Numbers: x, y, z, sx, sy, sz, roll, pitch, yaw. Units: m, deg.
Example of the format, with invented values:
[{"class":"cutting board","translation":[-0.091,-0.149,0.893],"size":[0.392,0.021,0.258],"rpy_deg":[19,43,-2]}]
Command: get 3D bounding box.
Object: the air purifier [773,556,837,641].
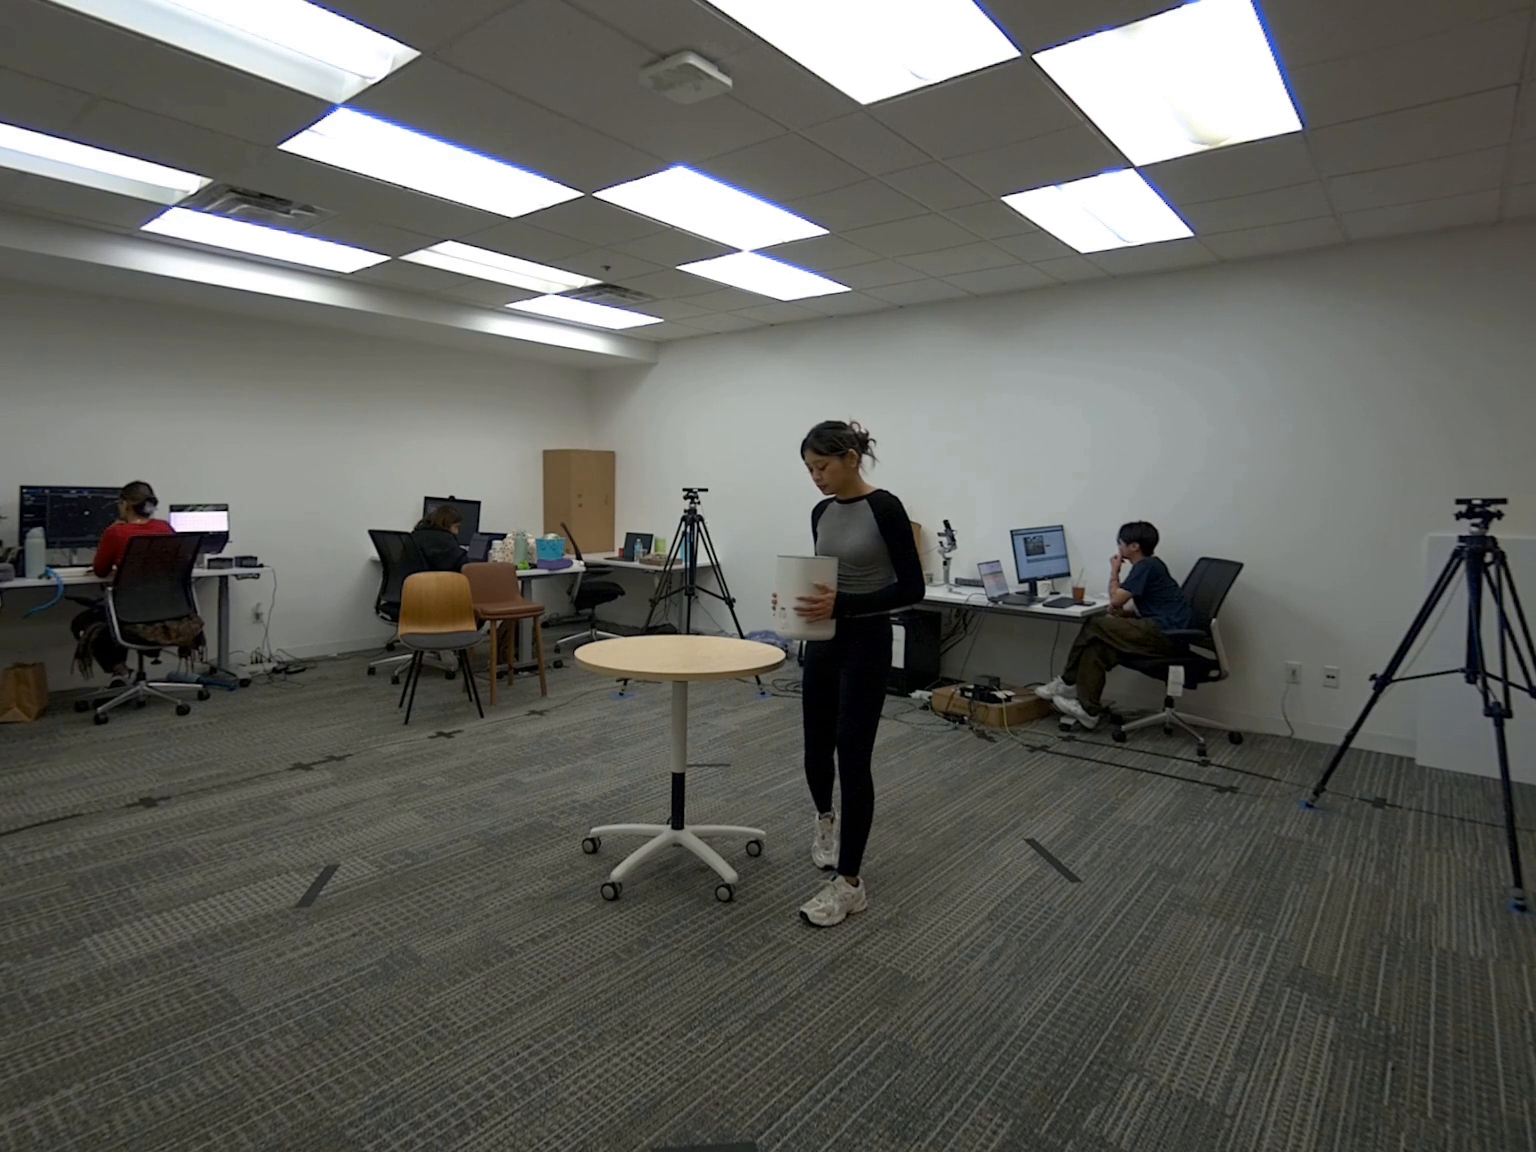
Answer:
[{"class":"air purifier","translation":[0.121,0.066,2.756],"size":[0.167,0.265,0.176],"rpy_deg":[2,1,-29]}]
